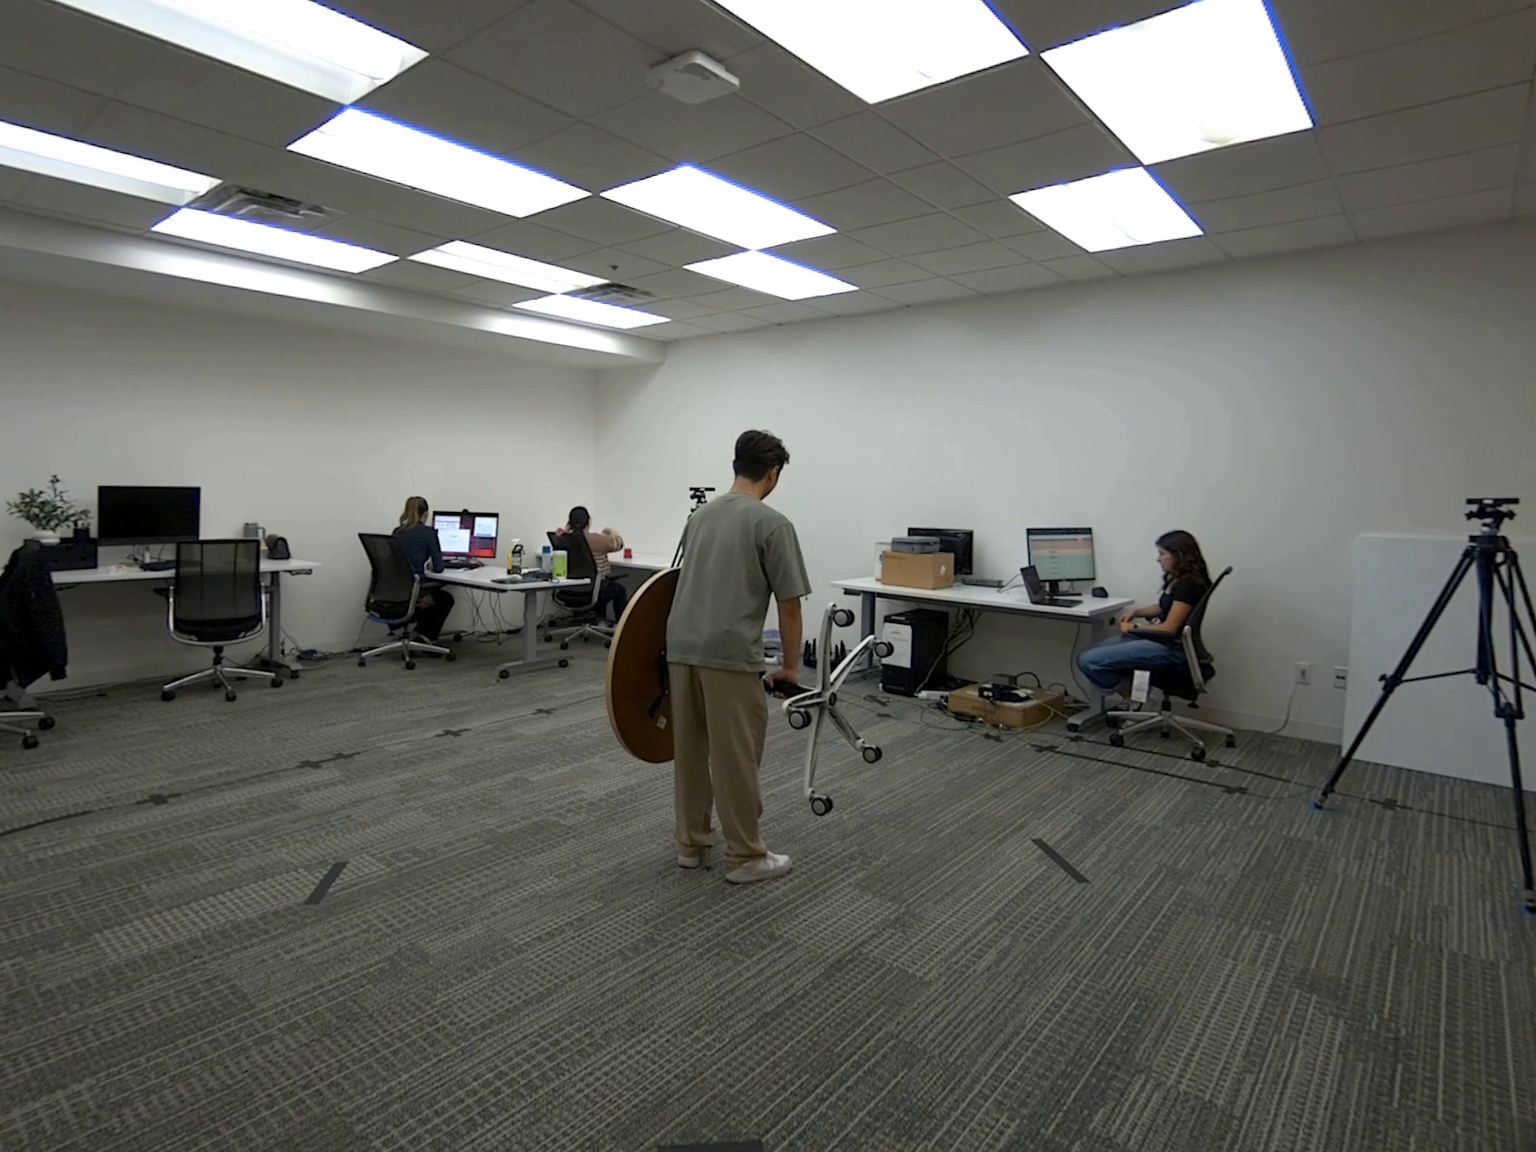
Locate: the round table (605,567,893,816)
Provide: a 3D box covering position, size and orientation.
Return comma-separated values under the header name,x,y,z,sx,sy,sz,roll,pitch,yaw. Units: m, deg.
name,x,y,z,sx,sy,sz,roll,pitch,yaw
round table,-0.047,0.394,3.131,0.812,0.781,0.764,7,7,32
